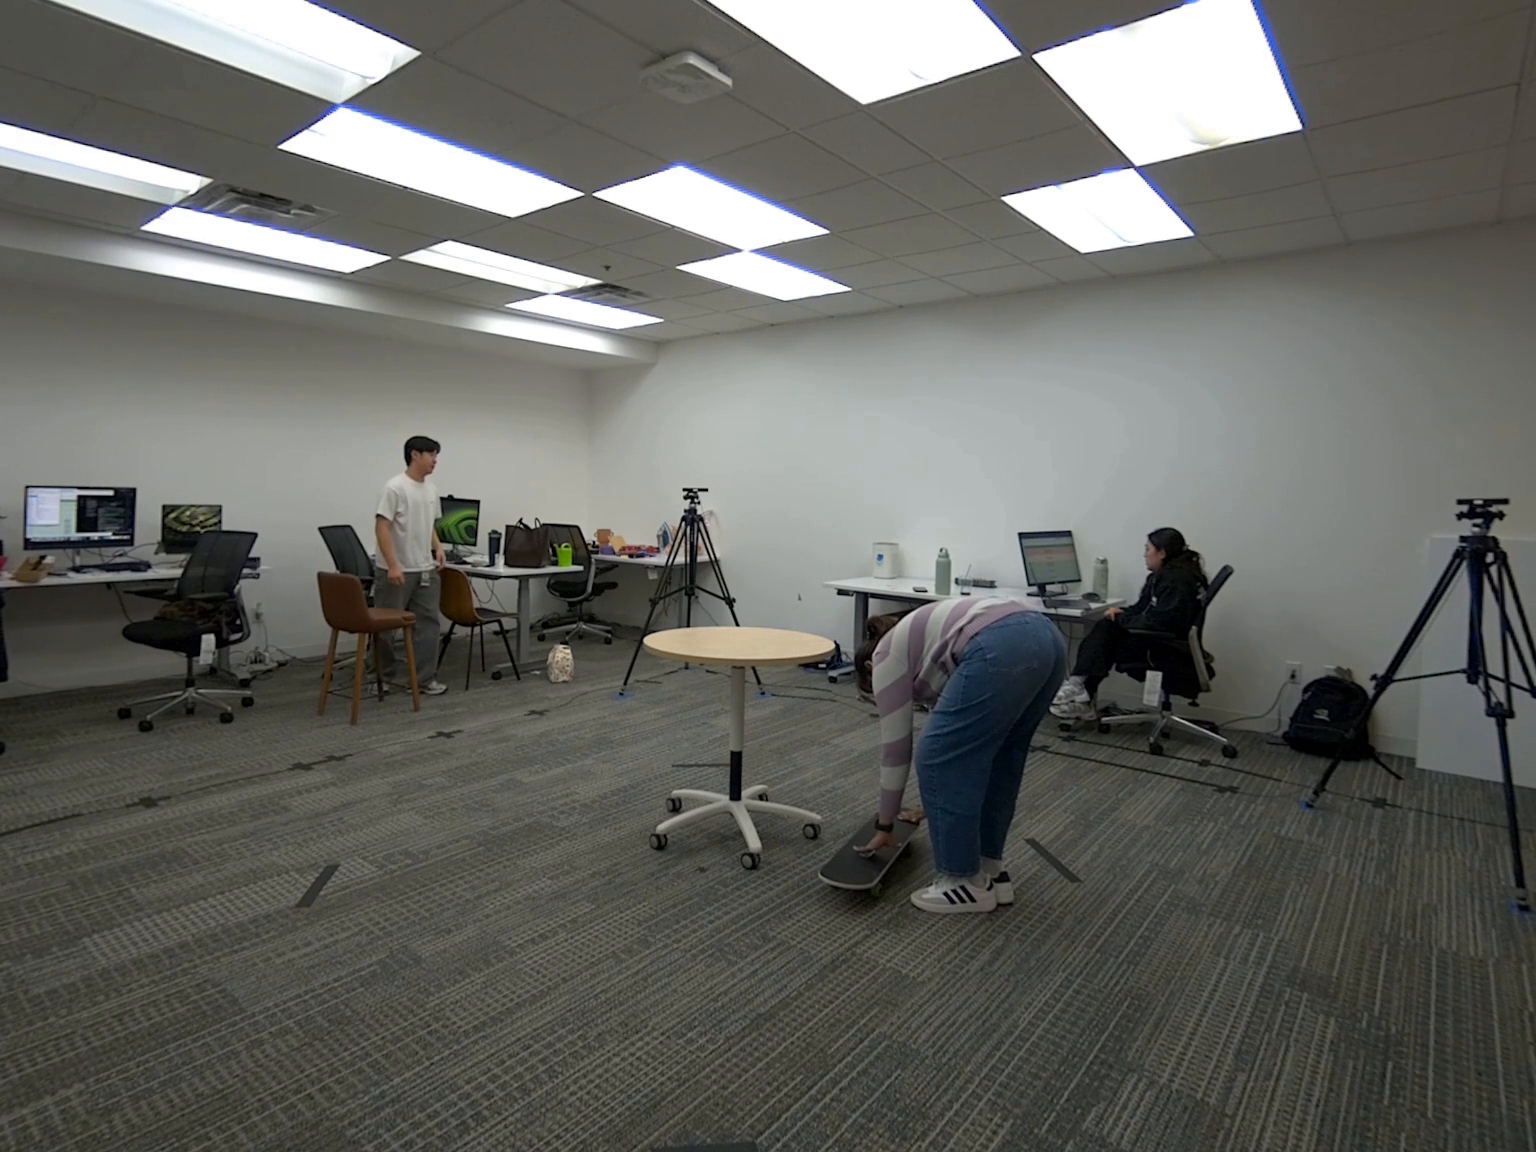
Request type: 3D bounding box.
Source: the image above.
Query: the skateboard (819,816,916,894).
[{"bbox_3d":[0.380,1.022,3.137,0.199,0.110,0.767,3,6,26],"label":"skateboard"}]
